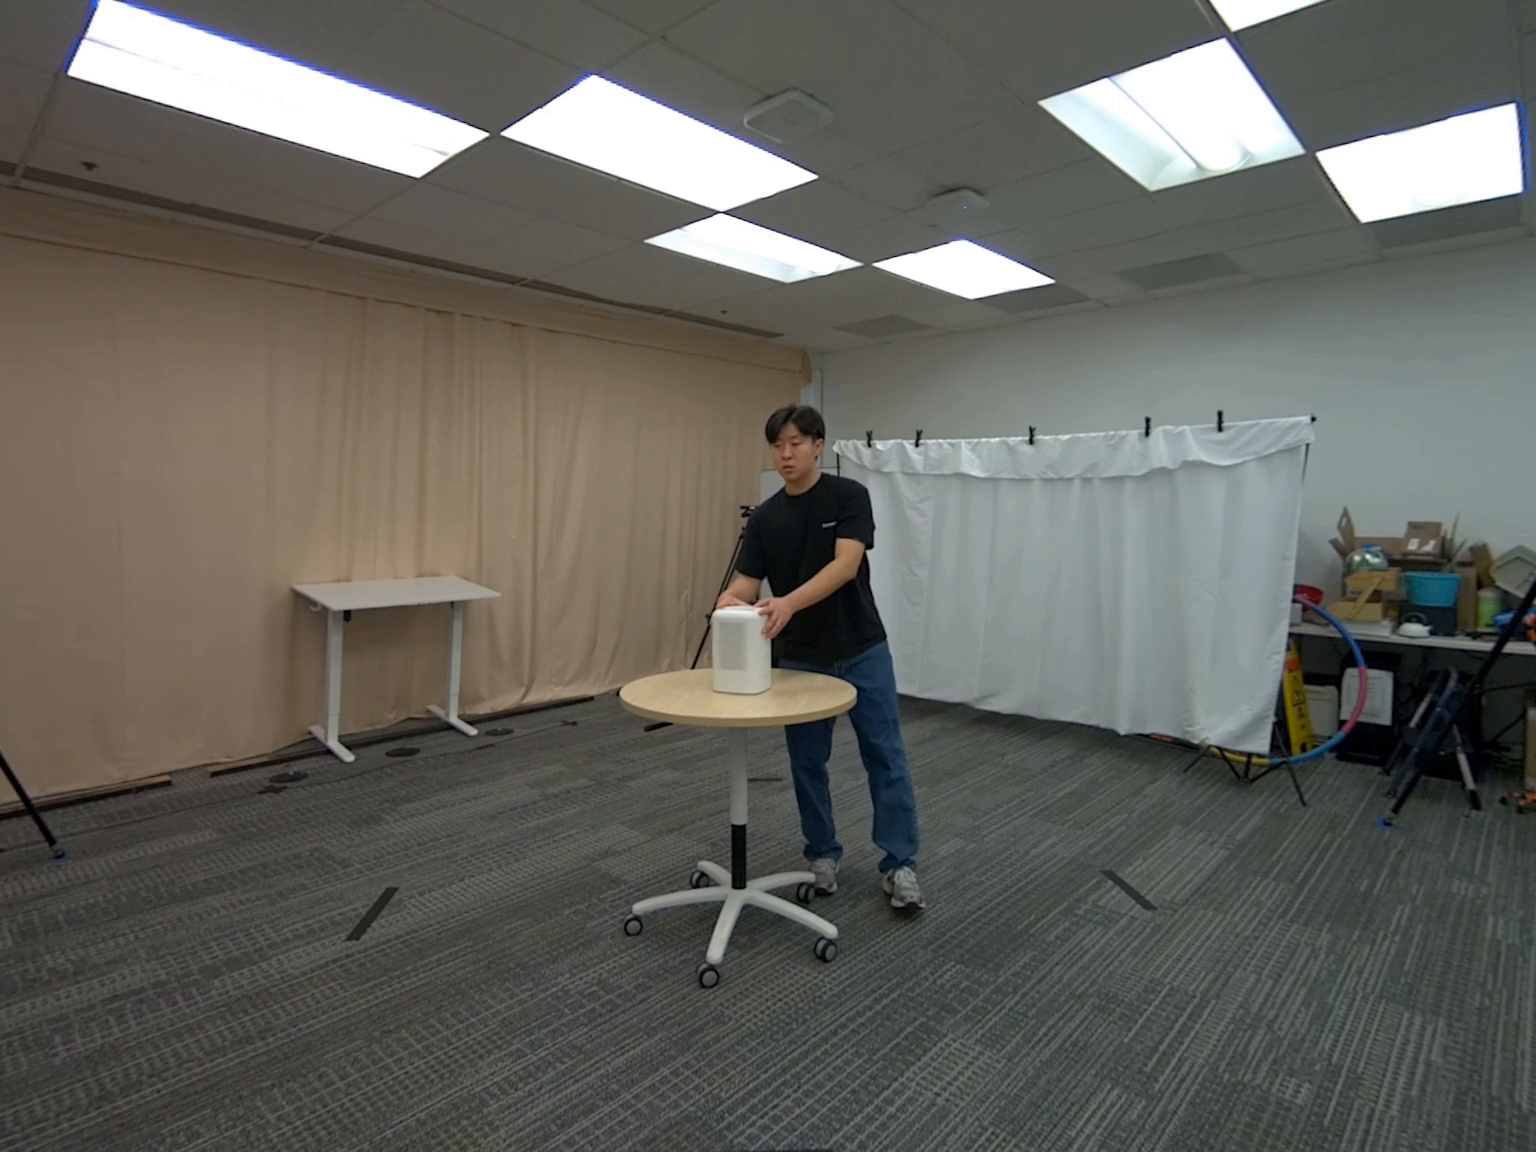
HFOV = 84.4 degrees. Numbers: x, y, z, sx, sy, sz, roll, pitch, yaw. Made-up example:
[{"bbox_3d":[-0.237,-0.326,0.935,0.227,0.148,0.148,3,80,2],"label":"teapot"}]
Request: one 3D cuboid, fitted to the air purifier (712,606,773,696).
[{"bbox_3d":[-0.084,0.235,2.740,0.175,0.265,0.167,0,1,21],"label":"air purifier"}]
